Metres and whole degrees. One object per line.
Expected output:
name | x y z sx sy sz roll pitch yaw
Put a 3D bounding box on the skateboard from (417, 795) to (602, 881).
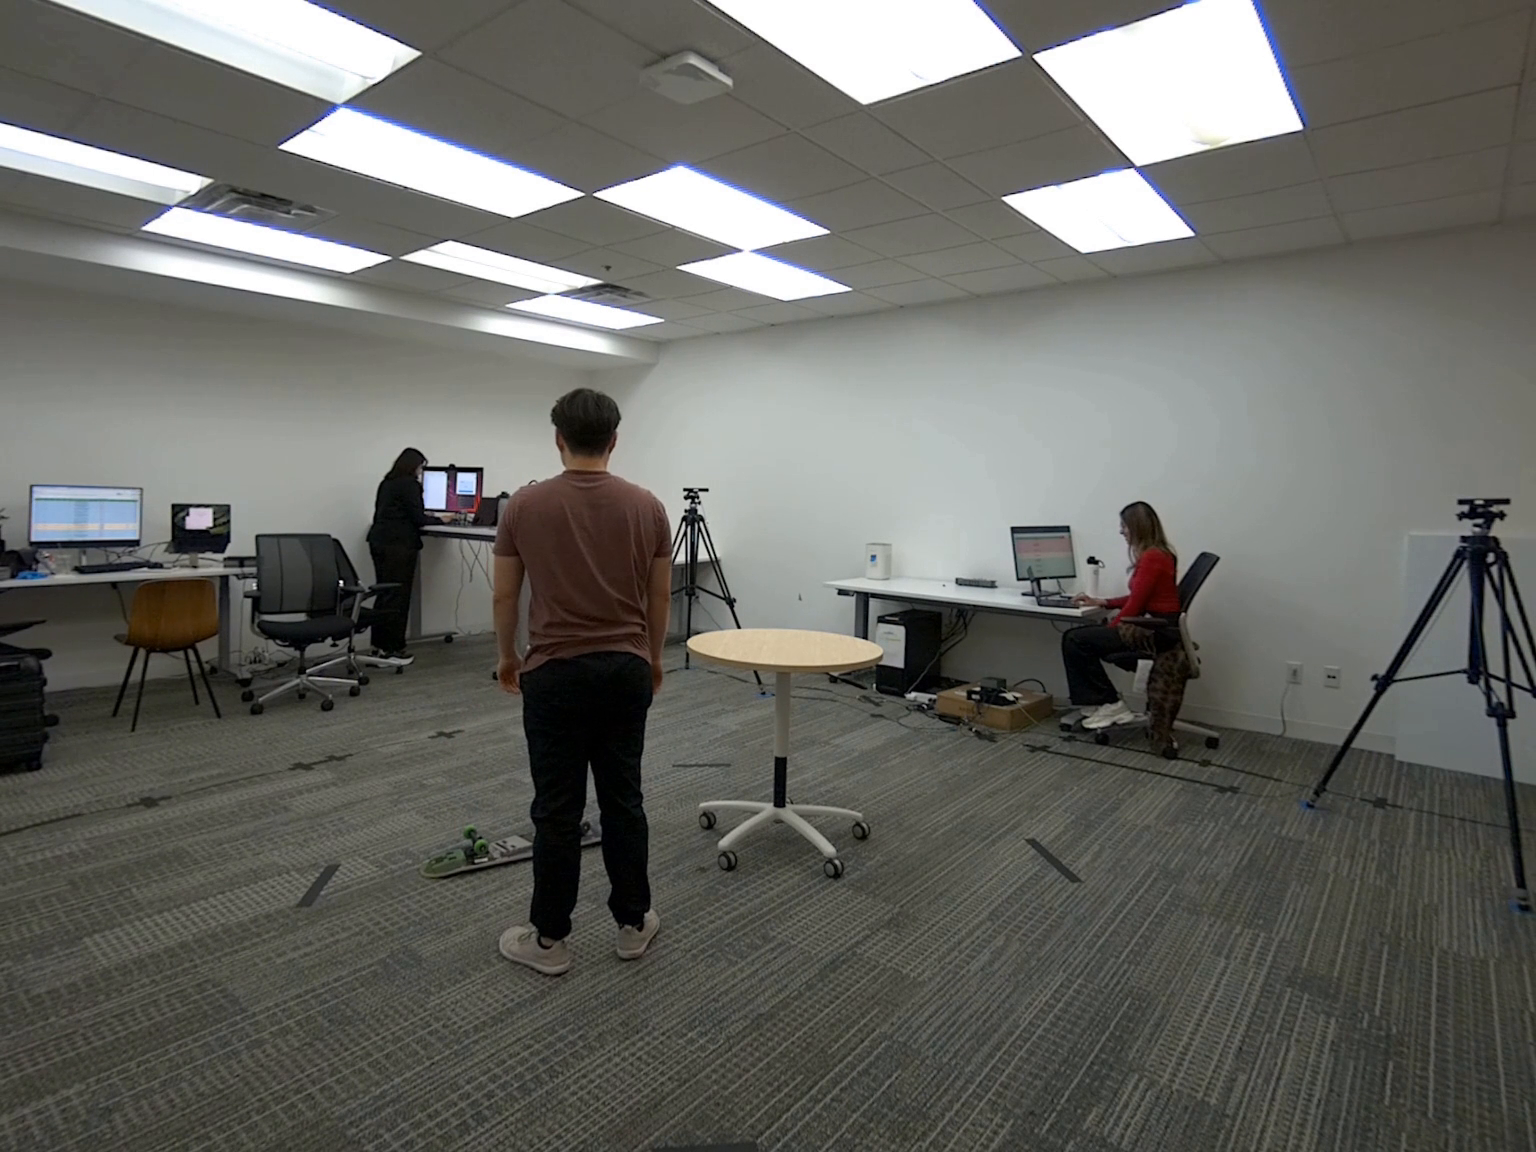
skateboard | -0.921 0.985 3.234 0.764 0.110 0.200 -3 7 -32
